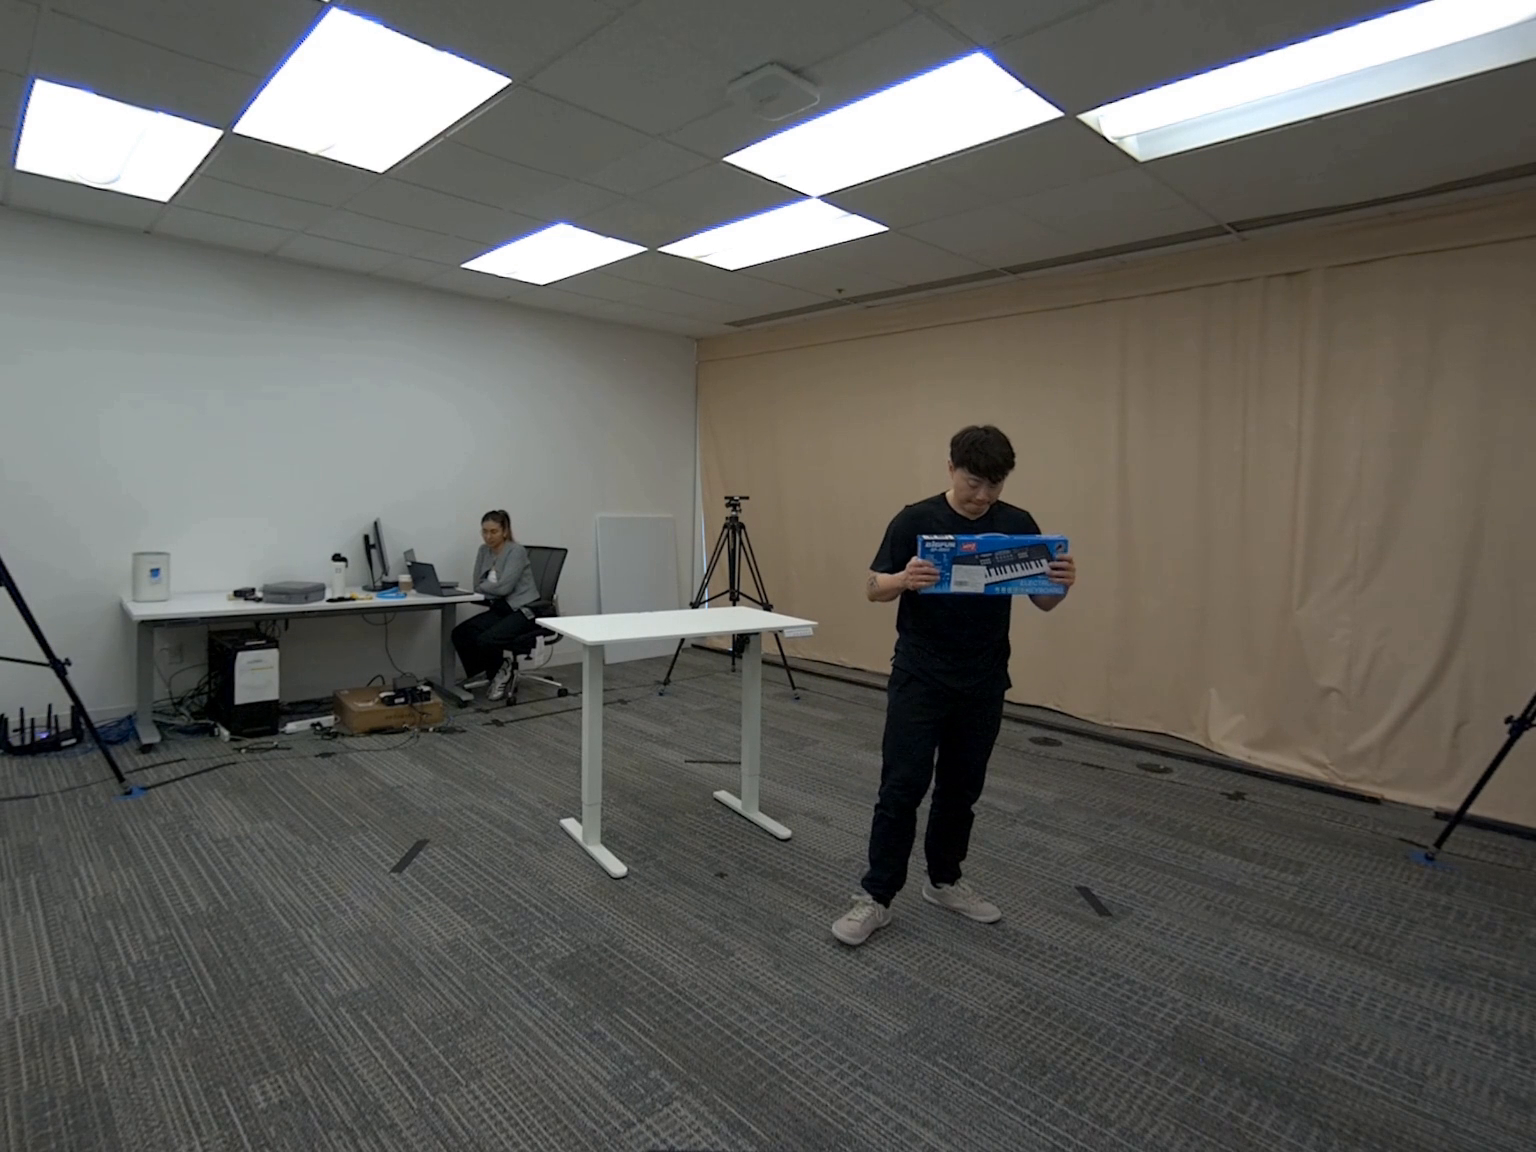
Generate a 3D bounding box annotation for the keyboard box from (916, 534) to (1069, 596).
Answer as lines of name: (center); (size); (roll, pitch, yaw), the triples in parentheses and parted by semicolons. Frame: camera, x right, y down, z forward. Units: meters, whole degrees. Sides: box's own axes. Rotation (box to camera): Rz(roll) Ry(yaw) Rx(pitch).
keyboard box: (0.672, -0.030, 2.543); (0.437, 0.174, 0.060); (-1, 14, 0)
